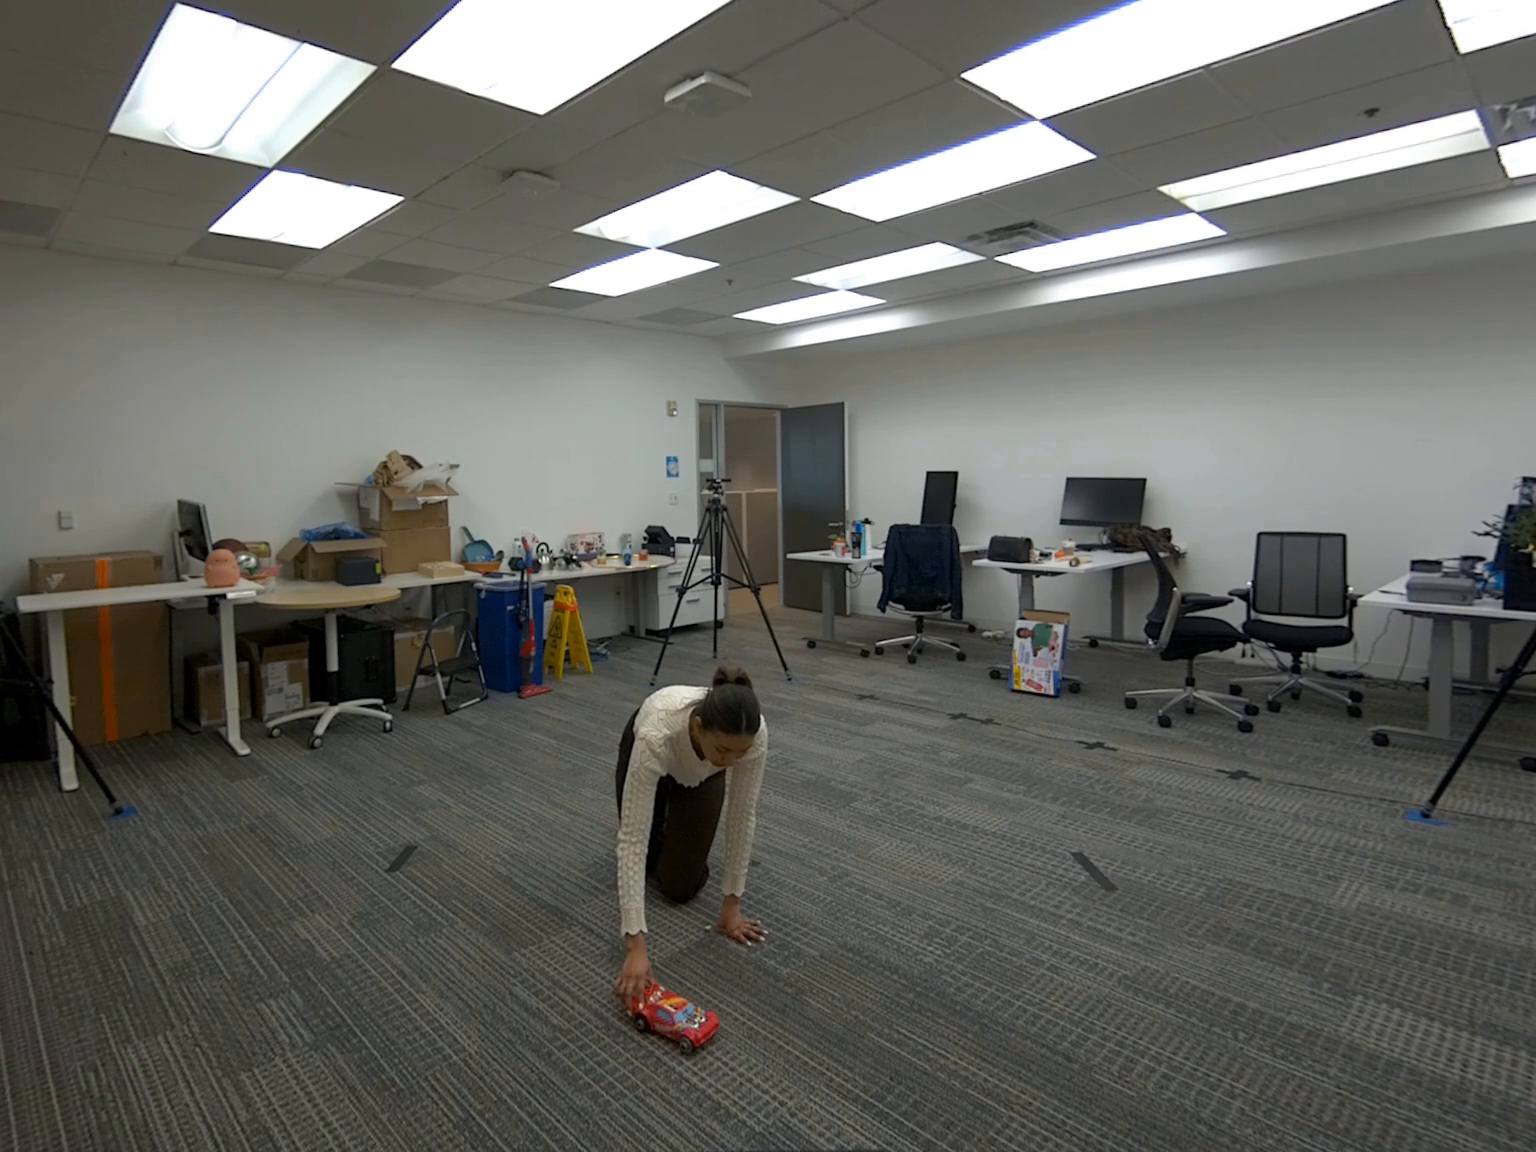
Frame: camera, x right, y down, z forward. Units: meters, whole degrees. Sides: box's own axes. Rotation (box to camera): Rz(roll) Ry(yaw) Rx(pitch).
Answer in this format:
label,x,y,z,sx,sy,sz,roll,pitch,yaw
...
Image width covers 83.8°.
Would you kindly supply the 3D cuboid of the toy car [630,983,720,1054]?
label,x,y,z,sx,sy,sz,roll,pitch,yaw
toy car,-0.245,1.131,2.183,0.263,0.082,0.127,15,15,35
